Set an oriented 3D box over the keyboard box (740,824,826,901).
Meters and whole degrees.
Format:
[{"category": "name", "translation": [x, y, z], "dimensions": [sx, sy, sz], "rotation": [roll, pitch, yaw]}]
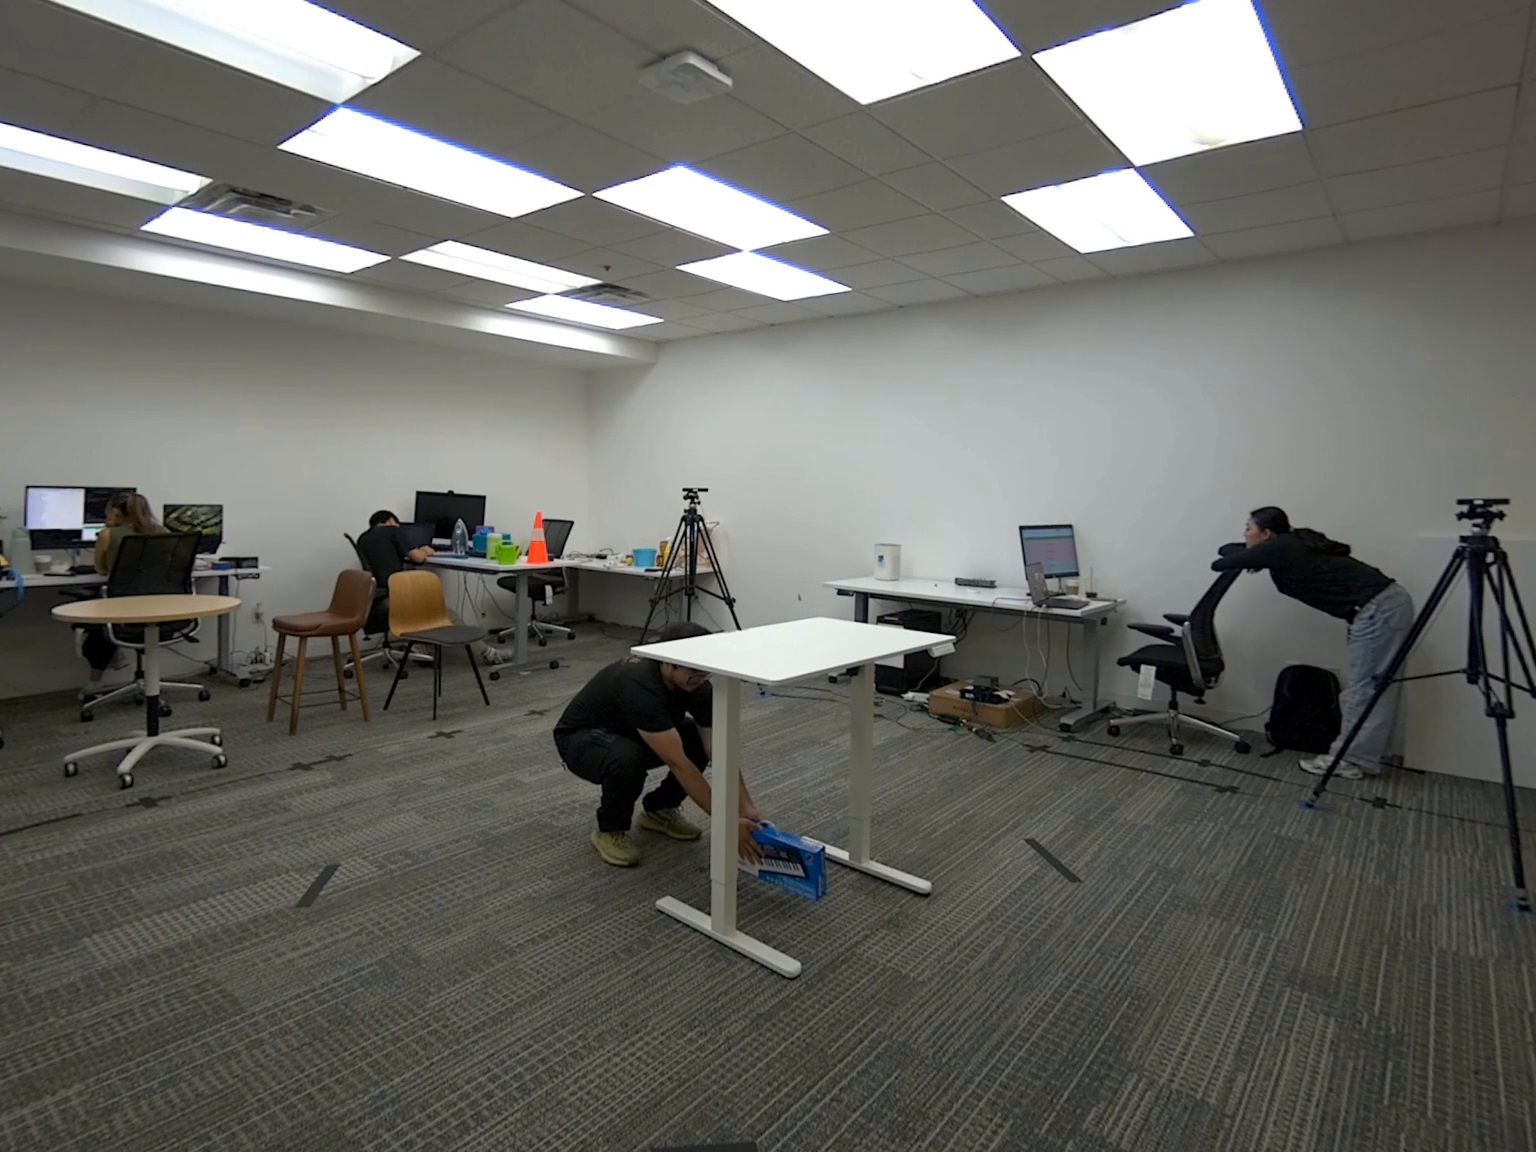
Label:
[{"category": "keyboard box", "translation": [-0.007, 0.950, 2.928], "dimensions": [0.452, 0.175, 0.057], "rotation": [6, 9, 39]}]
